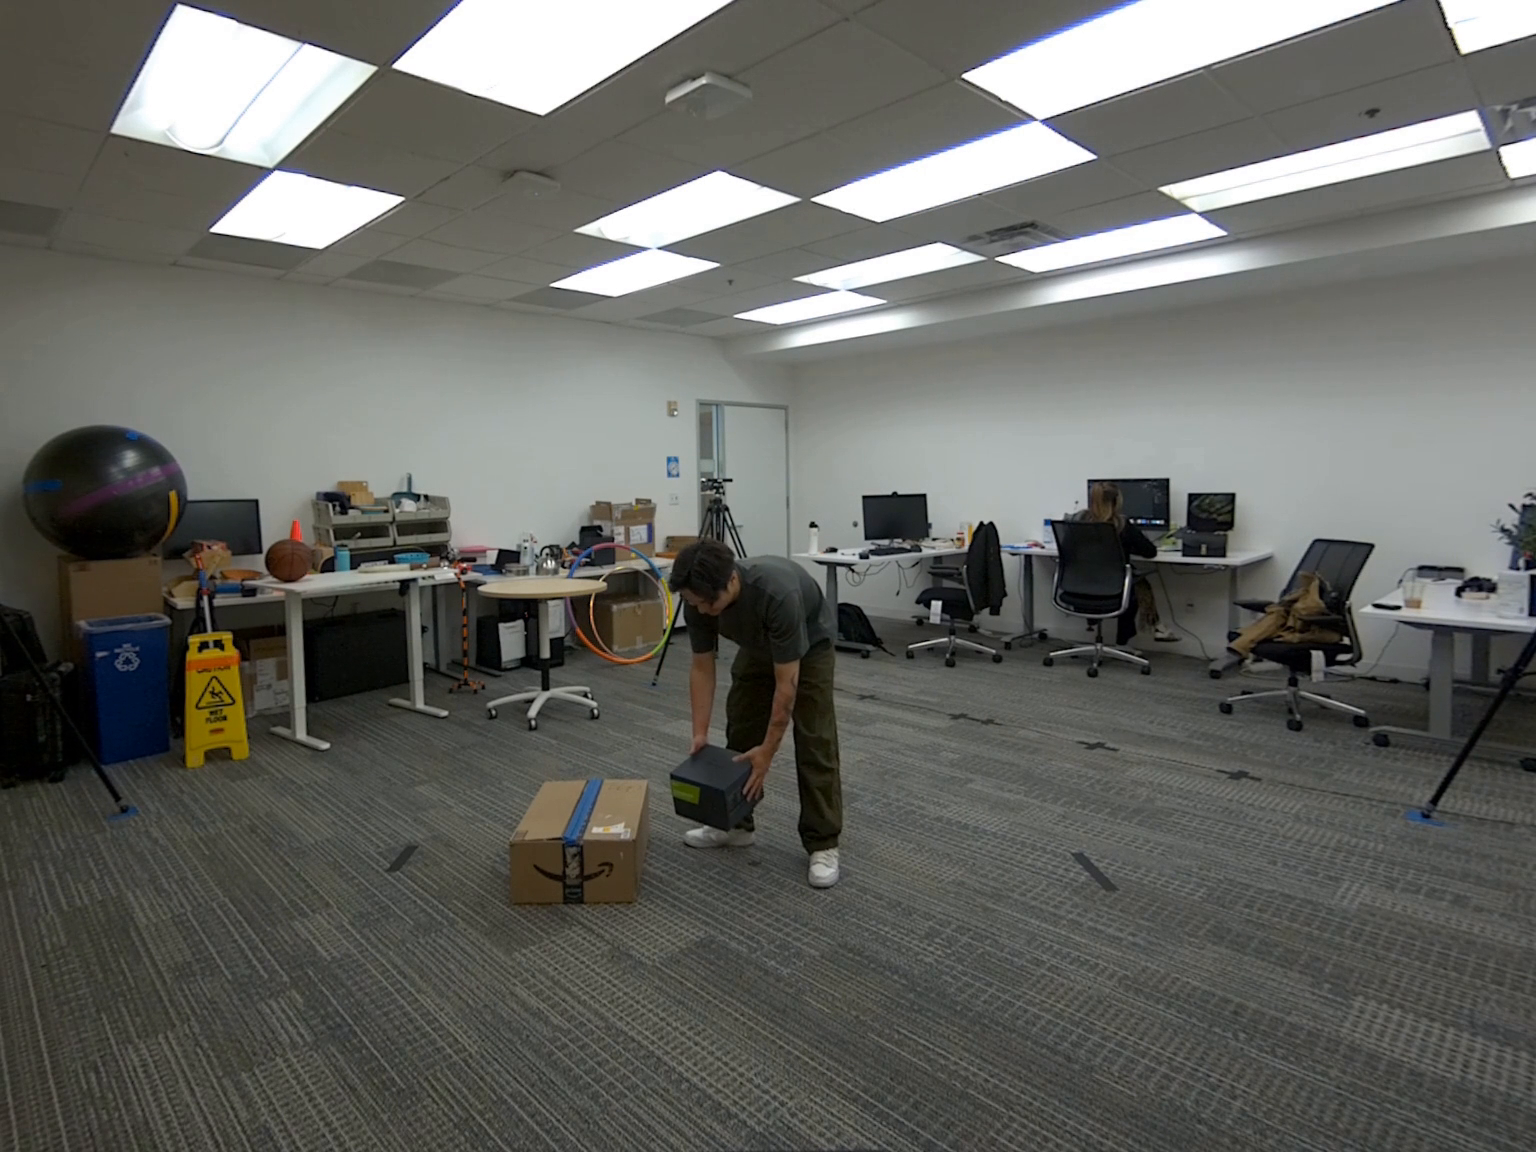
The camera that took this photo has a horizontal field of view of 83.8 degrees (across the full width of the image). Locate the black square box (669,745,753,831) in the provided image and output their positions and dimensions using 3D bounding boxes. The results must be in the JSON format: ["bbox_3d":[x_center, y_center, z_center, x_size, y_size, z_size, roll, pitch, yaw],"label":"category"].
[{"bbox_3d":[-0.174,0.705,2.869,0.235,0.153,0.214,7,21,34],"label":"black square box"}]
